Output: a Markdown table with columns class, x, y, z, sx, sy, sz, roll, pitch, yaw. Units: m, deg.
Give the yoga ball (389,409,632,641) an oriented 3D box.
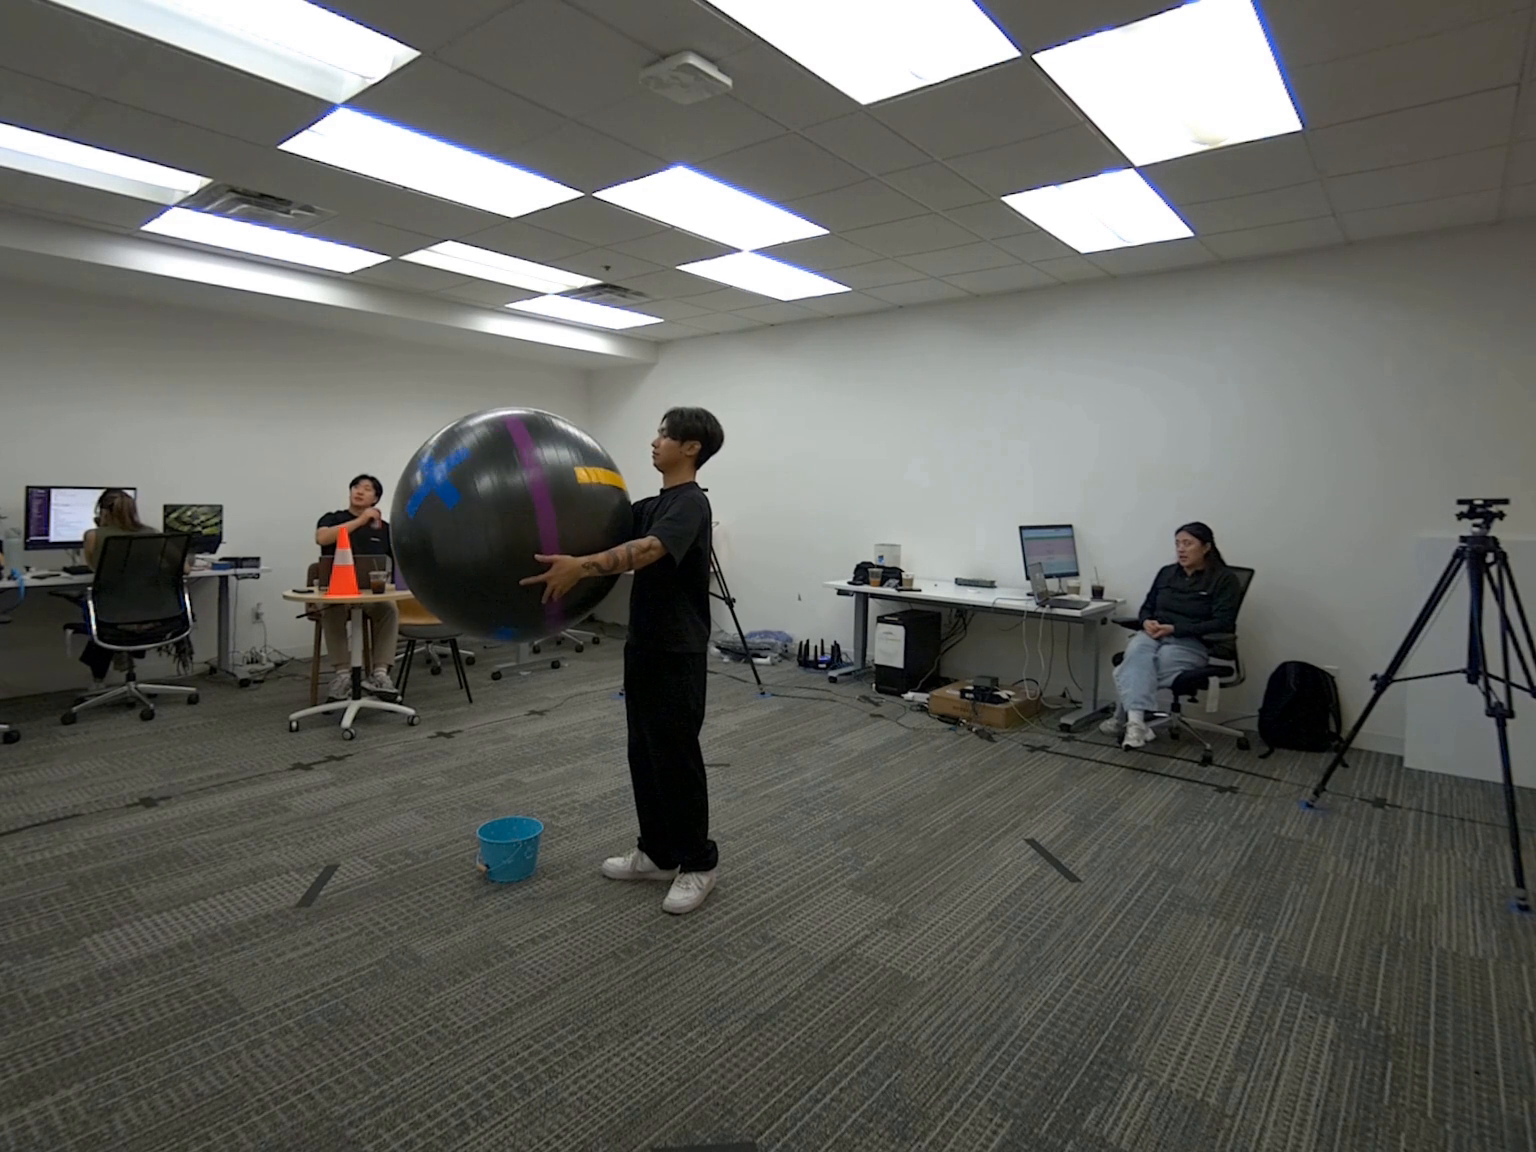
| class | x | y | z | sx | sy | sz | roll | pitch | yaw |
| --- | --- | --- | --- | --- | --- | --- | --- | --- | --- |
| yoga ball | -0.839 | -0.162 | 2.749 | 0.757 | 0.756 | 0.762 | 1 | 4 | -2 |
